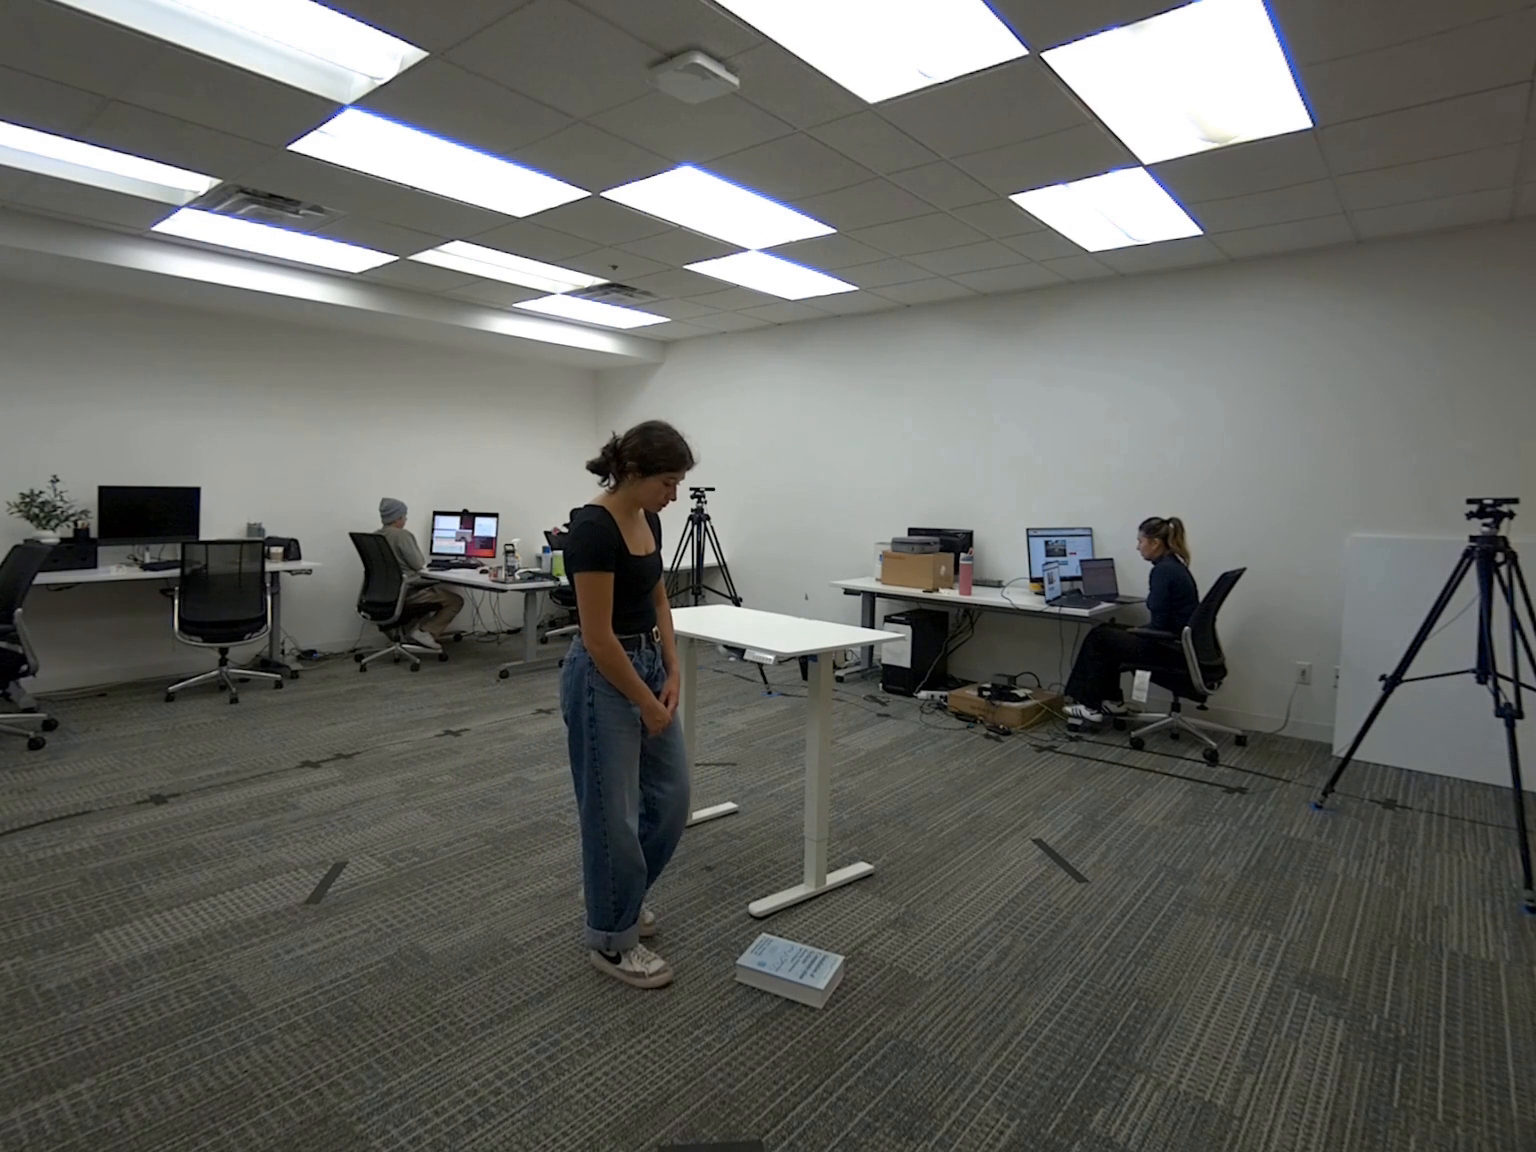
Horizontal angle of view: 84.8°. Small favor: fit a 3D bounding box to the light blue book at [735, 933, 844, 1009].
[{"bbox_3d":[0.062,1.116,2.406,0.268,0.059,0.187,4,6,25],"label":"light blue book"}]
